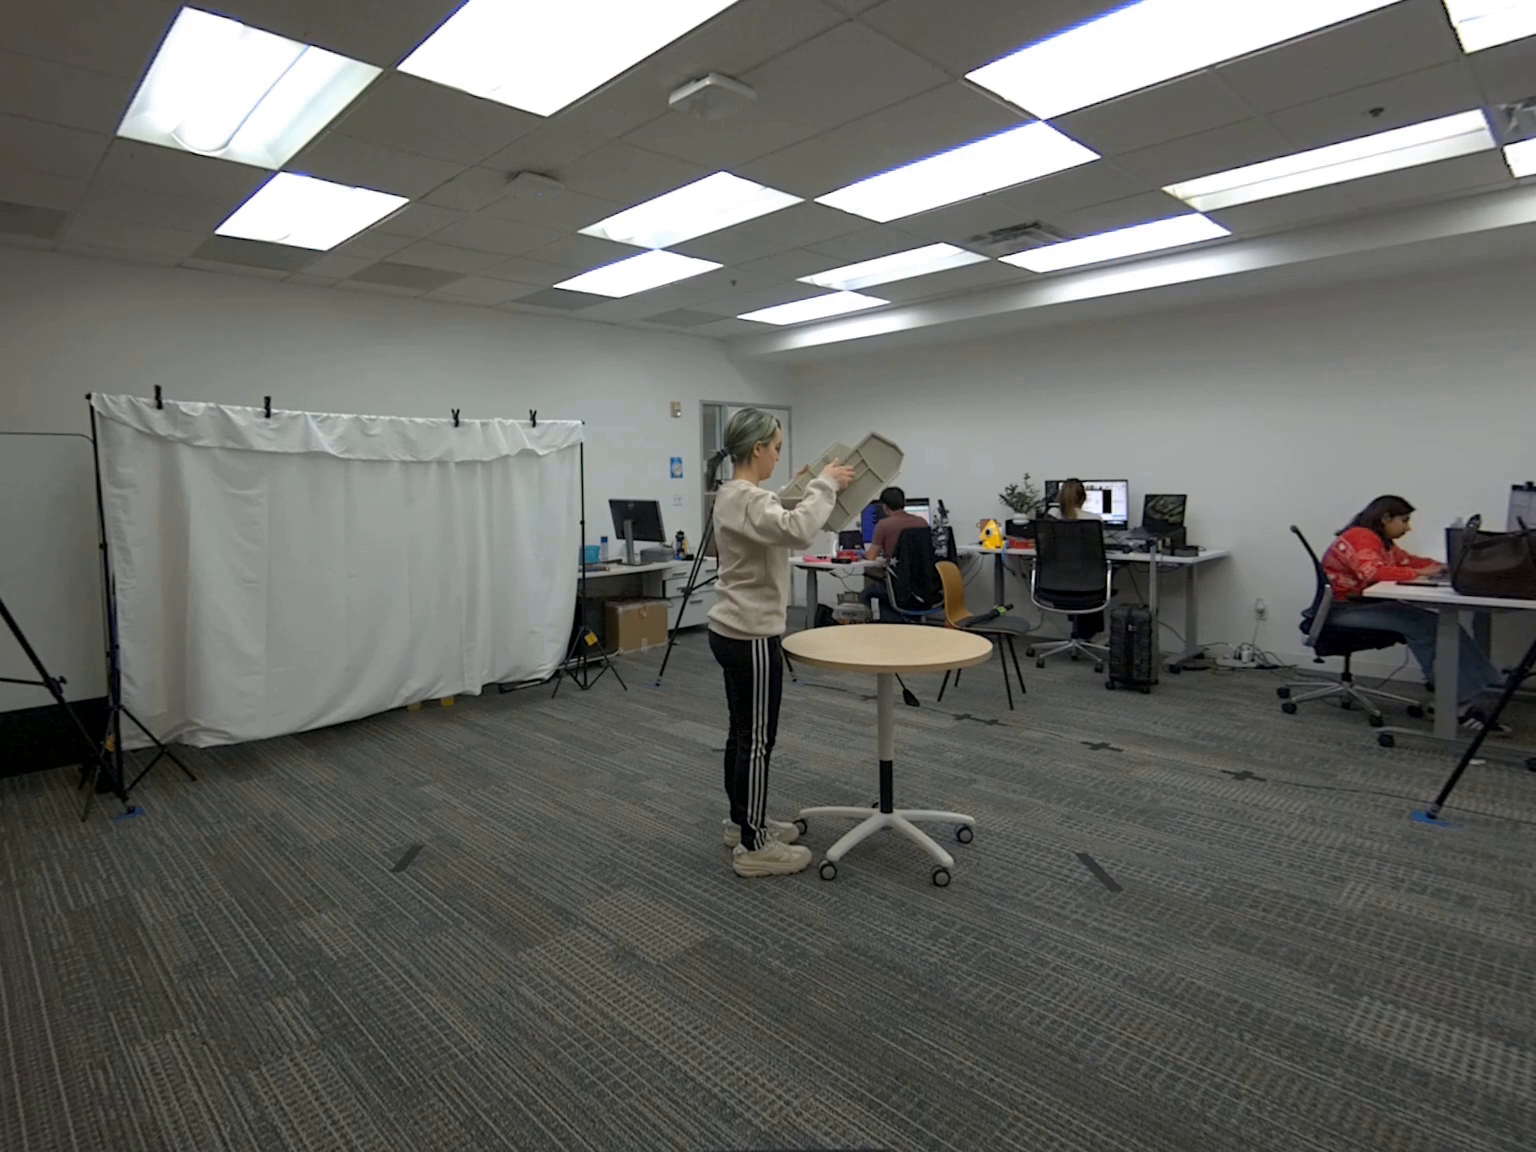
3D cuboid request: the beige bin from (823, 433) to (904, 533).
[{"bbox_3d":[0.262,-0.344,3.135,0.377,0.187,0.428,-45,11,-6],"label":"beige bin"}]
